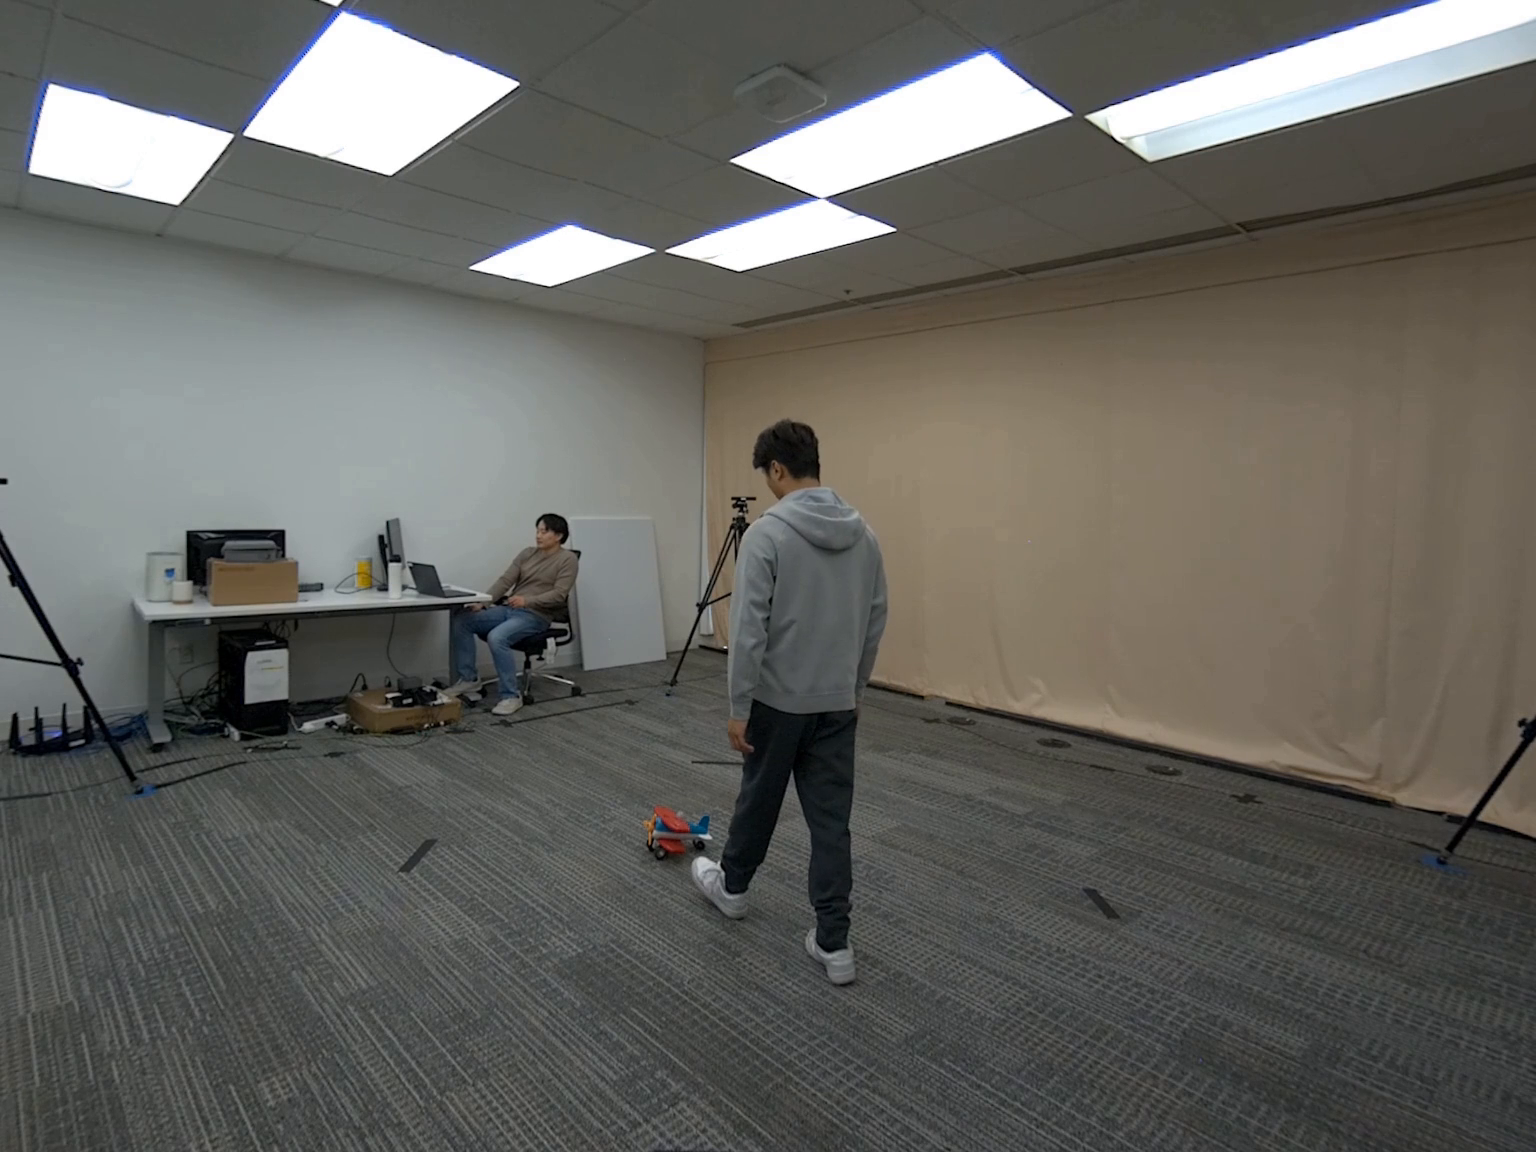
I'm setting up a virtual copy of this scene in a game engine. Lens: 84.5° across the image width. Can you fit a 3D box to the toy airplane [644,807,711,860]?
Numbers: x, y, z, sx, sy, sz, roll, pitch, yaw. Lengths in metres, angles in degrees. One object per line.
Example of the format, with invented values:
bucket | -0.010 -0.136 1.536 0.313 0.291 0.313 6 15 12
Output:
toy airplane | -0.368 1.007 3.316 0.257 0.156 0.254 5 7 36
